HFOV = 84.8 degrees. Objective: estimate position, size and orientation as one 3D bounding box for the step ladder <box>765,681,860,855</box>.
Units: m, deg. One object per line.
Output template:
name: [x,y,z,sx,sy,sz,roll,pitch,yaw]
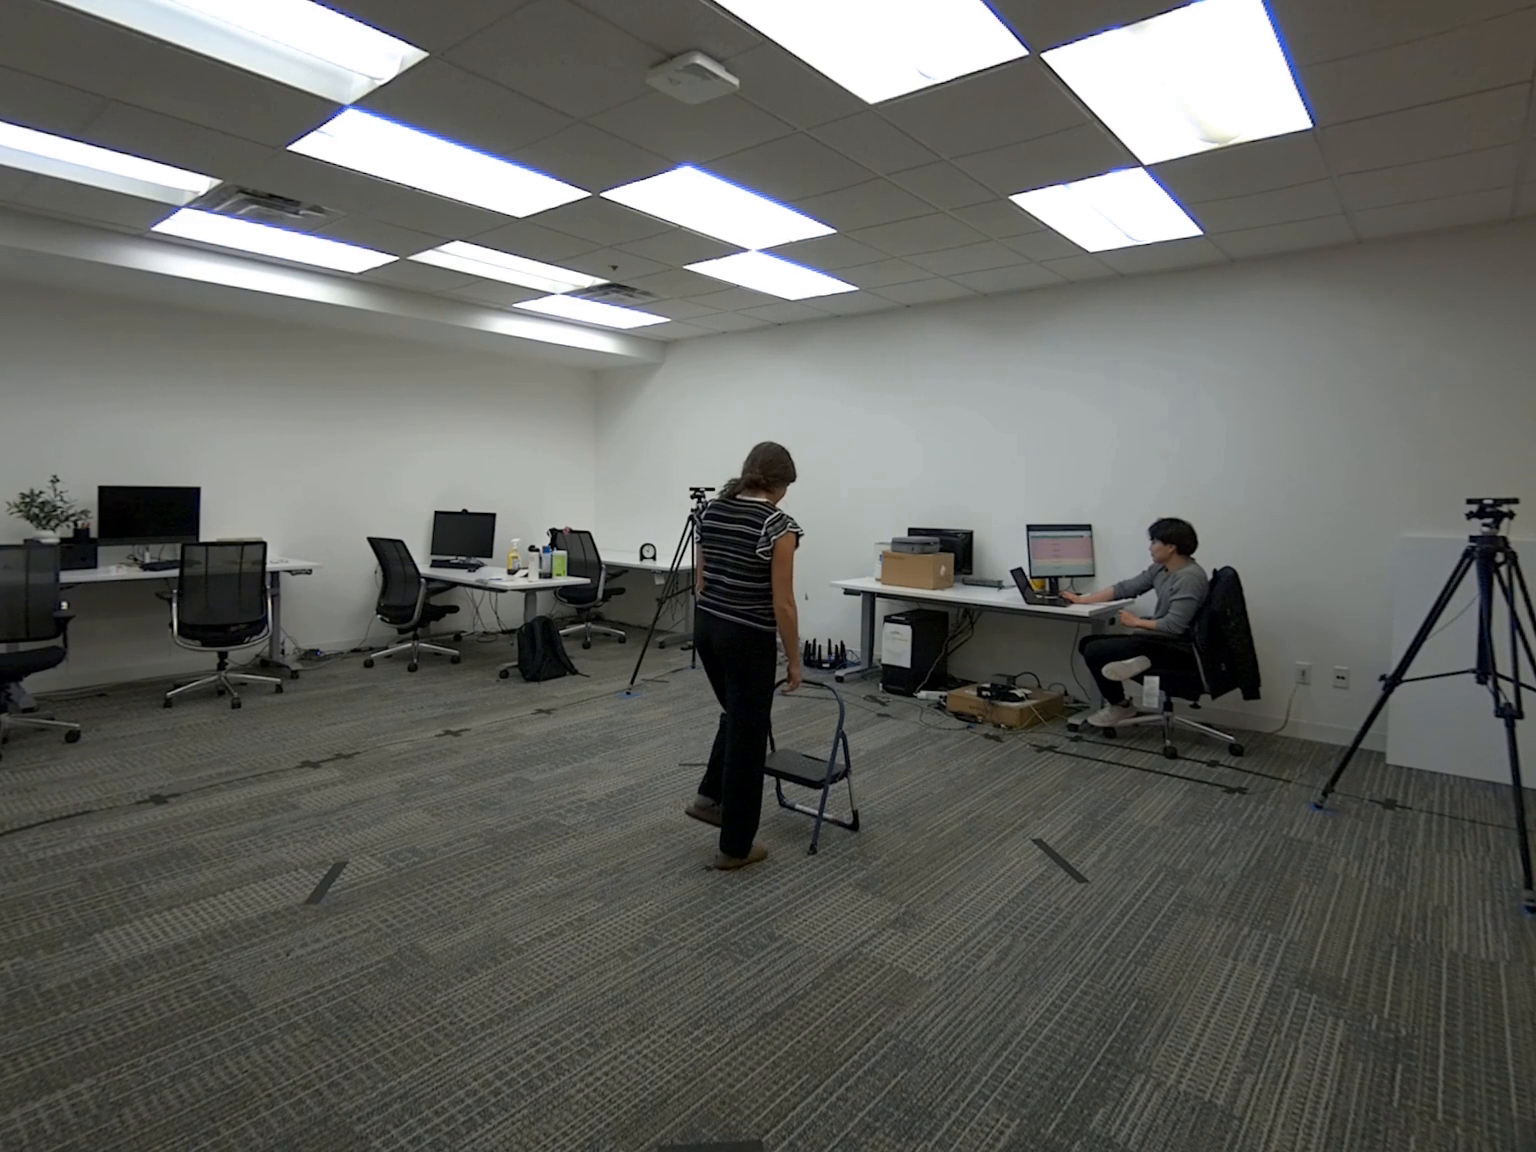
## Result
step ladder: [0.110,0.733,3.492,0.445,0.604,0.339,4,5,39]
